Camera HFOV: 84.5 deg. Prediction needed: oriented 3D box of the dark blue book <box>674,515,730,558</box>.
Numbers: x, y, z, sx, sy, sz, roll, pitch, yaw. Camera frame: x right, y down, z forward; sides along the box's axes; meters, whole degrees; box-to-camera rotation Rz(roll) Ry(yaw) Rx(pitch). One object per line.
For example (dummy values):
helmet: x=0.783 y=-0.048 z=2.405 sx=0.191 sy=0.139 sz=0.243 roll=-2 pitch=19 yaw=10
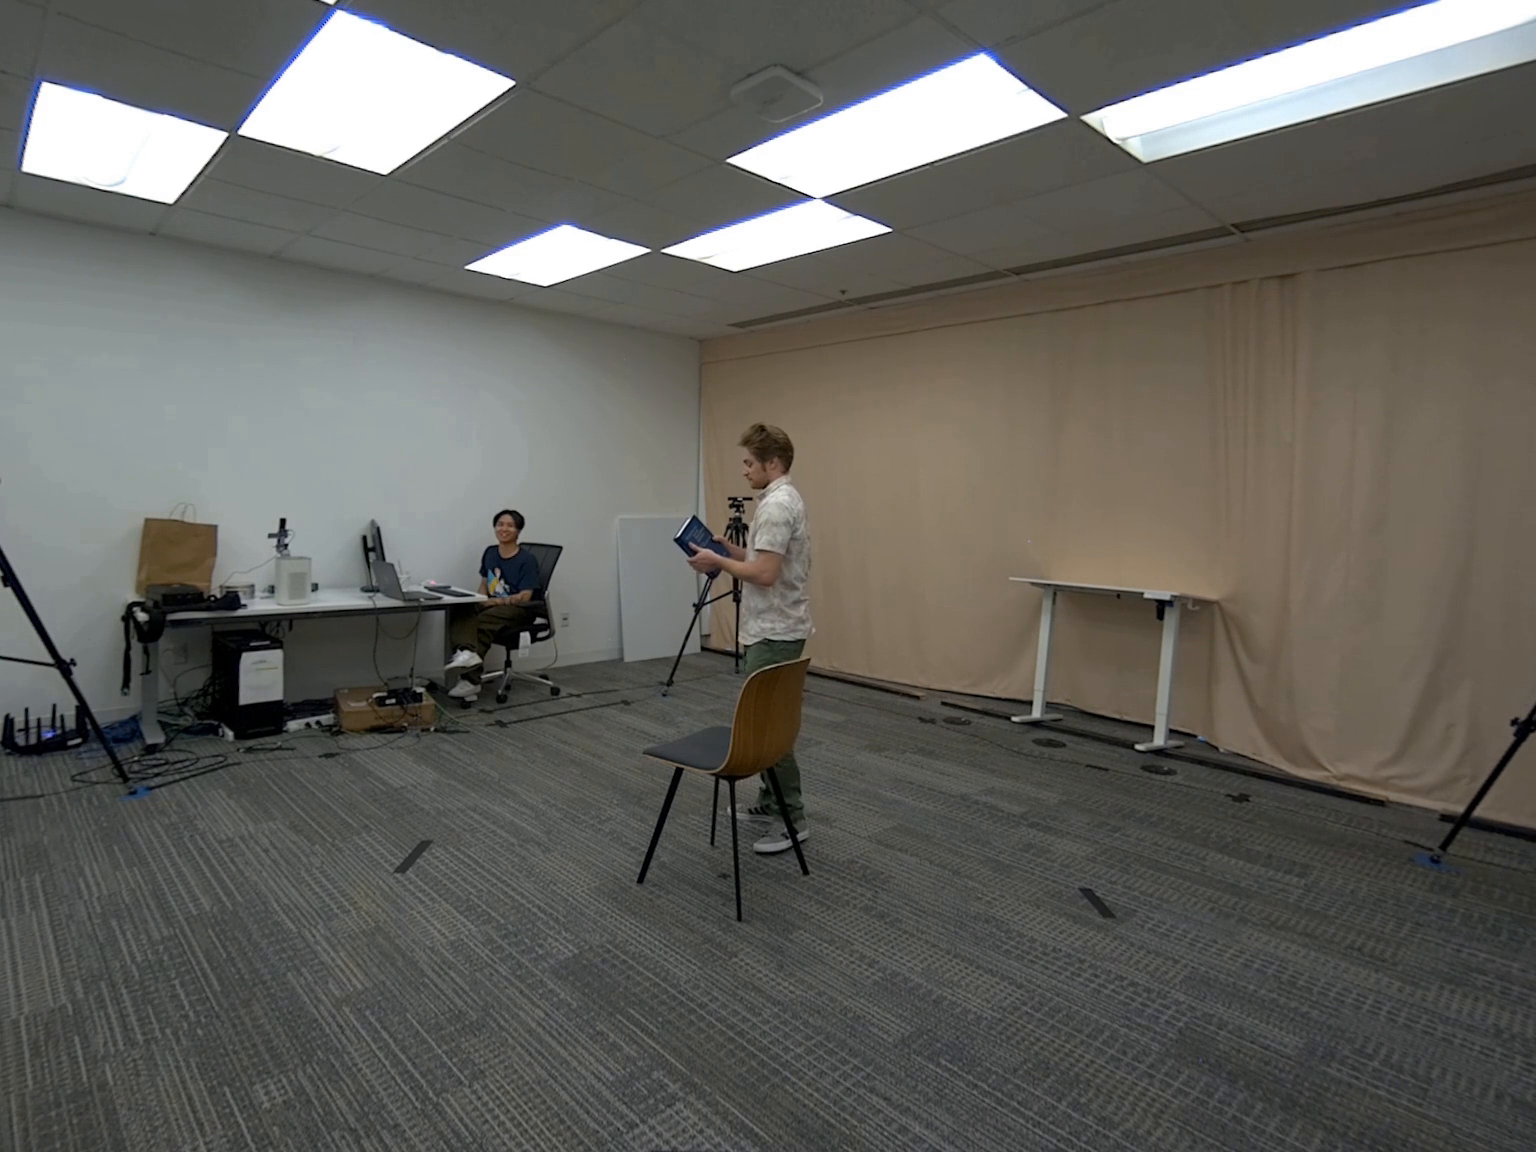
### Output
dark blue book: x=-0.286 y=-0.123 z=3.581 sx=0.045 sy=0.241 sz=0.164 roll=-30 pitch=21 yaw=39
